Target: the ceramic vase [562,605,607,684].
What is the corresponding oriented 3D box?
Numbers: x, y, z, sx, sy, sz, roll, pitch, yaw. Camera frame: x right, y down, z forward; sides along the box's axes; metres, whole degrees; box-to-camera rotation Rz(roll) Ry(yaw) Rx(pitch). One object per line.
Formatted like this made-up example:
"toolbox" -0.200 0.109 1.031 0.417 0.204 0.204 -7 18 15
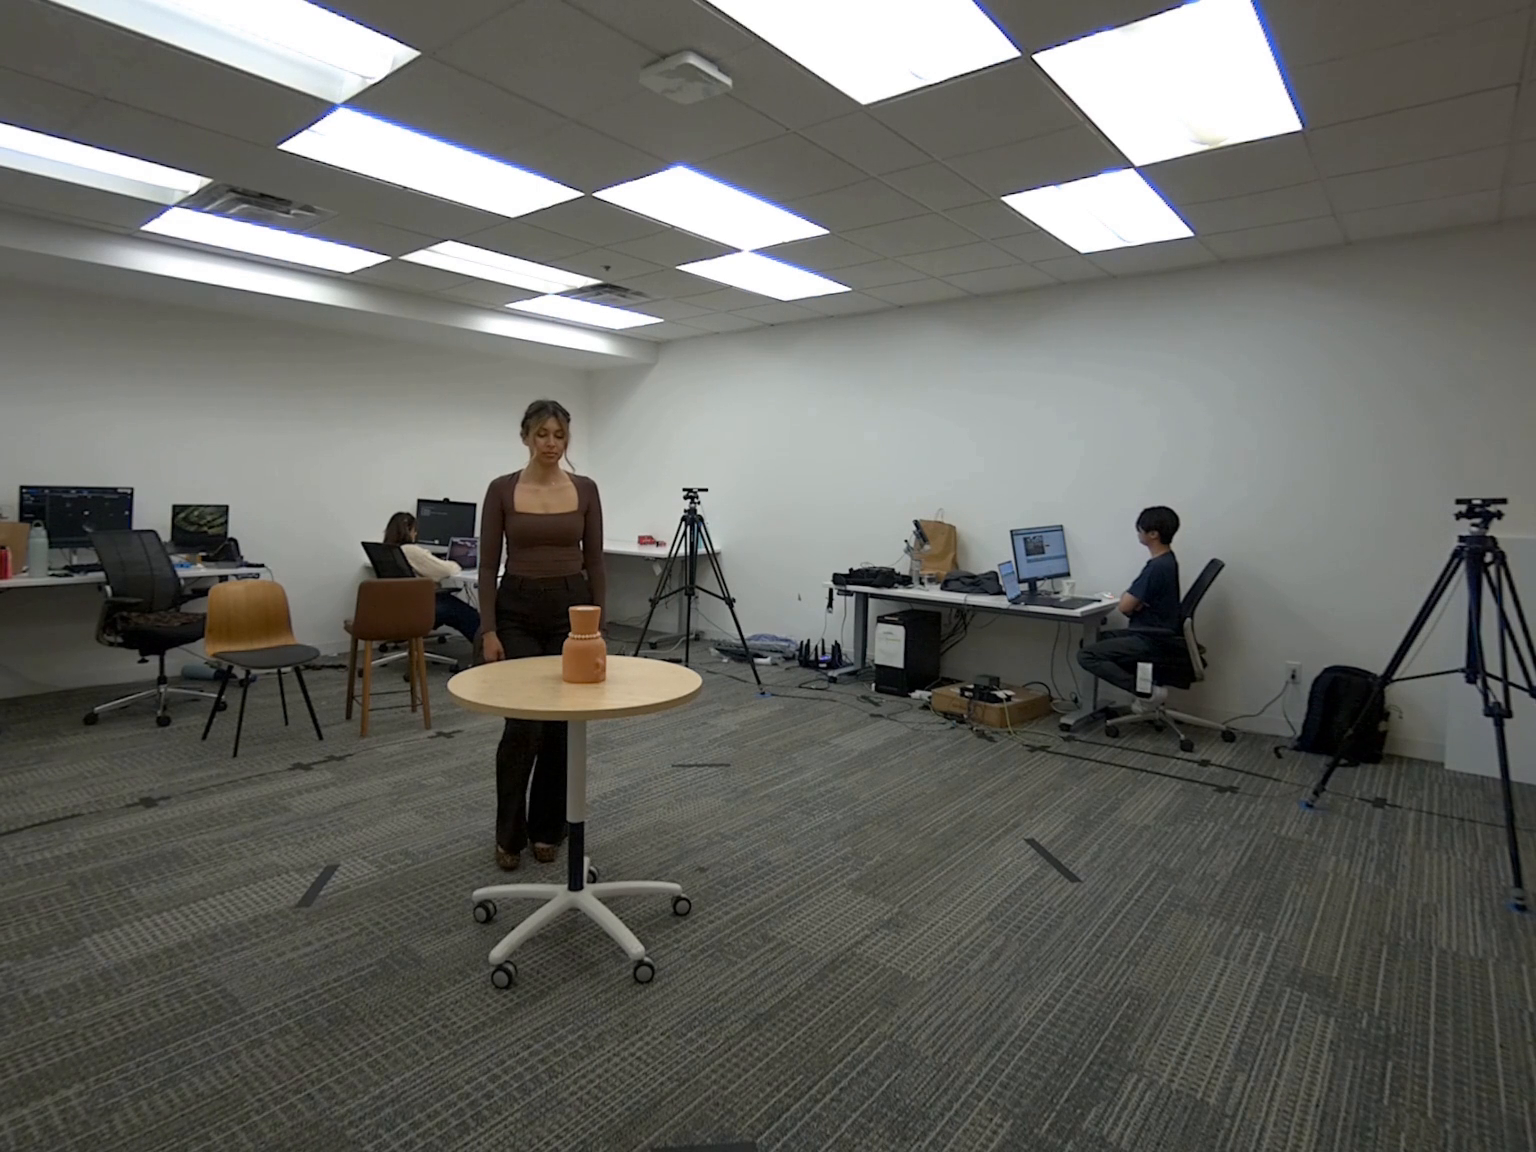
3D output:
"ceramic vase" -0.573 0.206 2.607 0.160 0.219 0.134 2 5 4
